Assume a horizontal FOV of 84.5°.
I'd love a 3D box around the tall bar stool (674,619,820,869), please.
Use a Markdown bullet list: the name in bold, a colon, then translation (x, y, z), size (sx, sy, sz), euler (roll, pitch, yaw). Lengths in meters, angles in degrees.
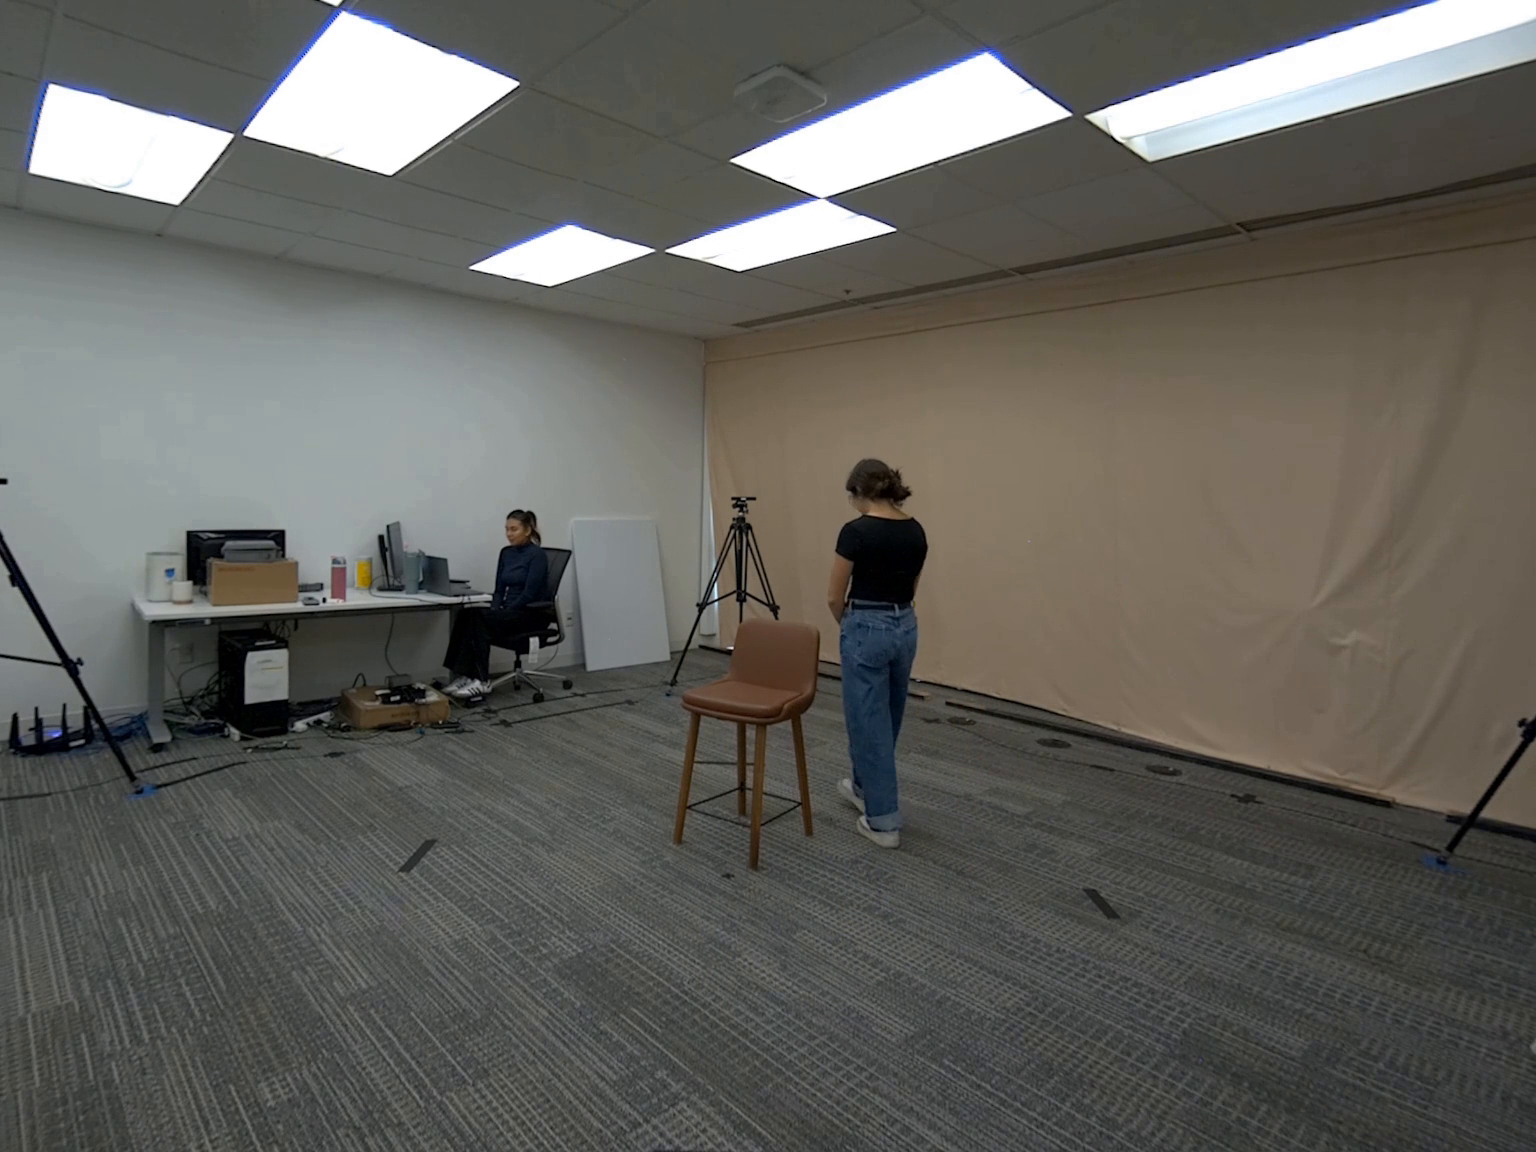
- **tall bar stool**: translation (-0.079, 0.645, 3.429), size (0.467, 0.889, 0.457), euler (4, 2, 36)
